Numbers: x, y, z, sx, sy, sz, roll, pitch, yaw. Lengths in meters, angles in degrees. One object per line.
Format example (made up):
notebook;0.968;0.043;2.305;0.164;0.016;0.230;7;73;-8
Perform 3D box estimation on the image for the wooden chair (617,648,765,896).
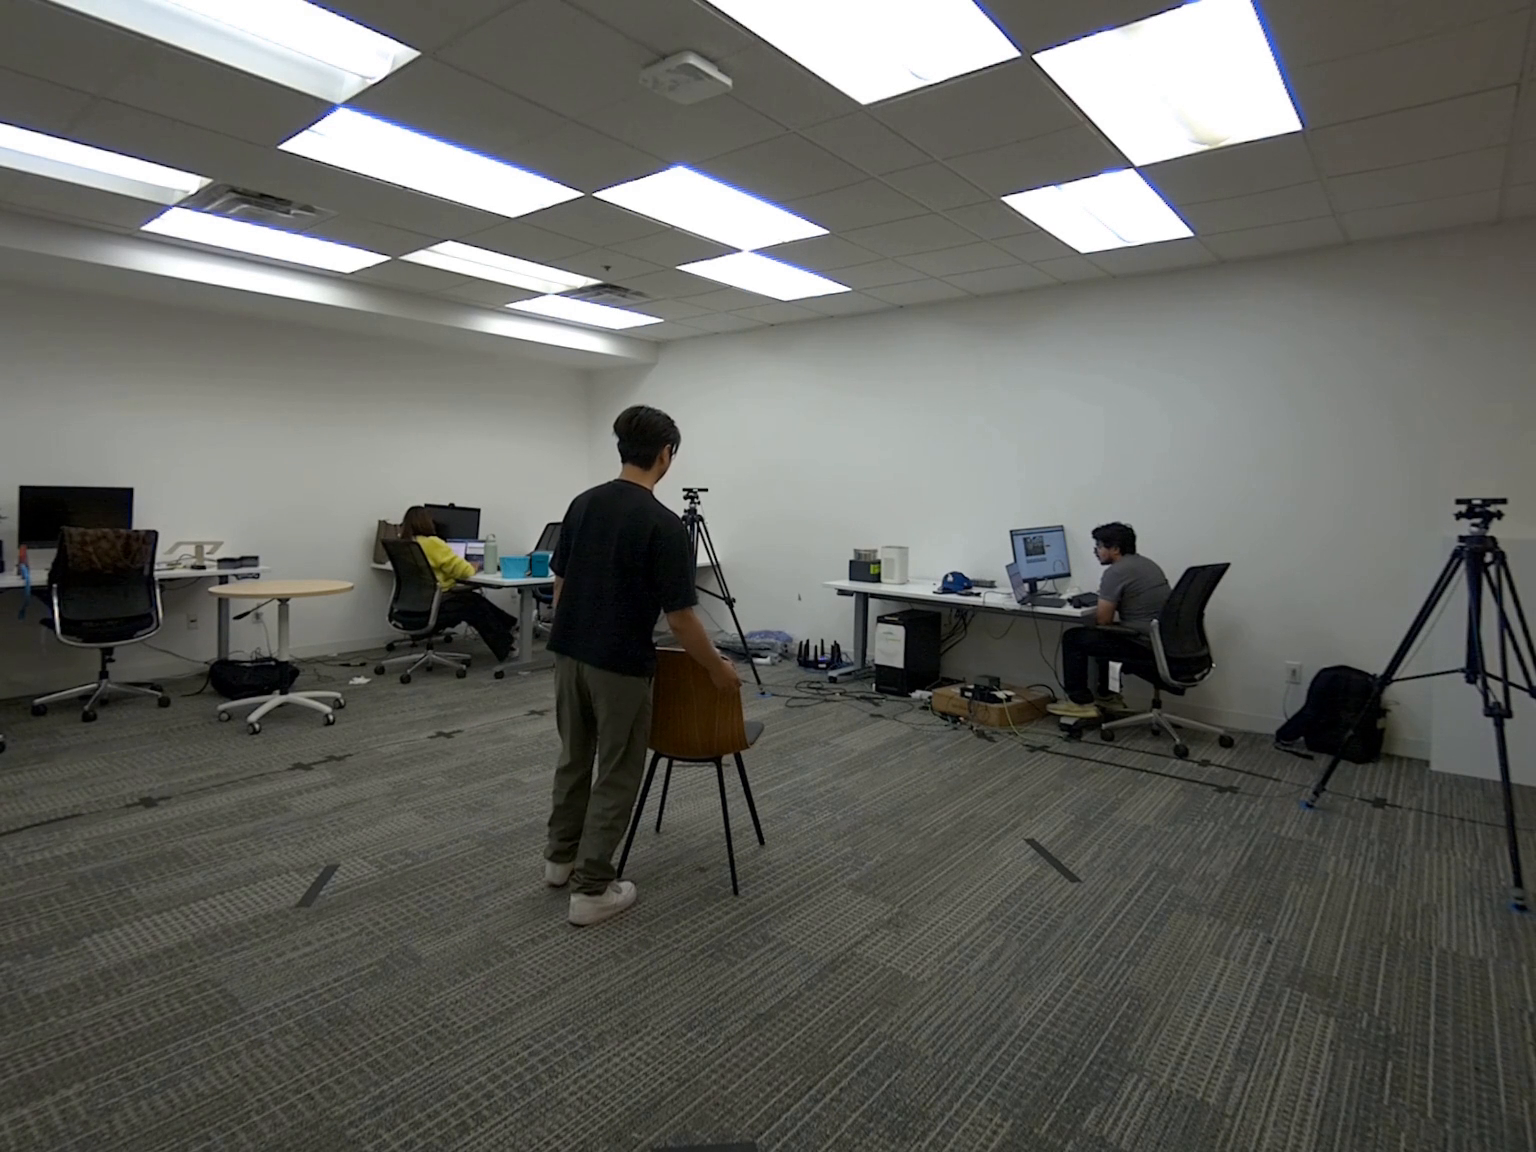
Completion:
wooden chair;-0.277;0.635;3.163;0.486;0.871;0.518;2;7;14
